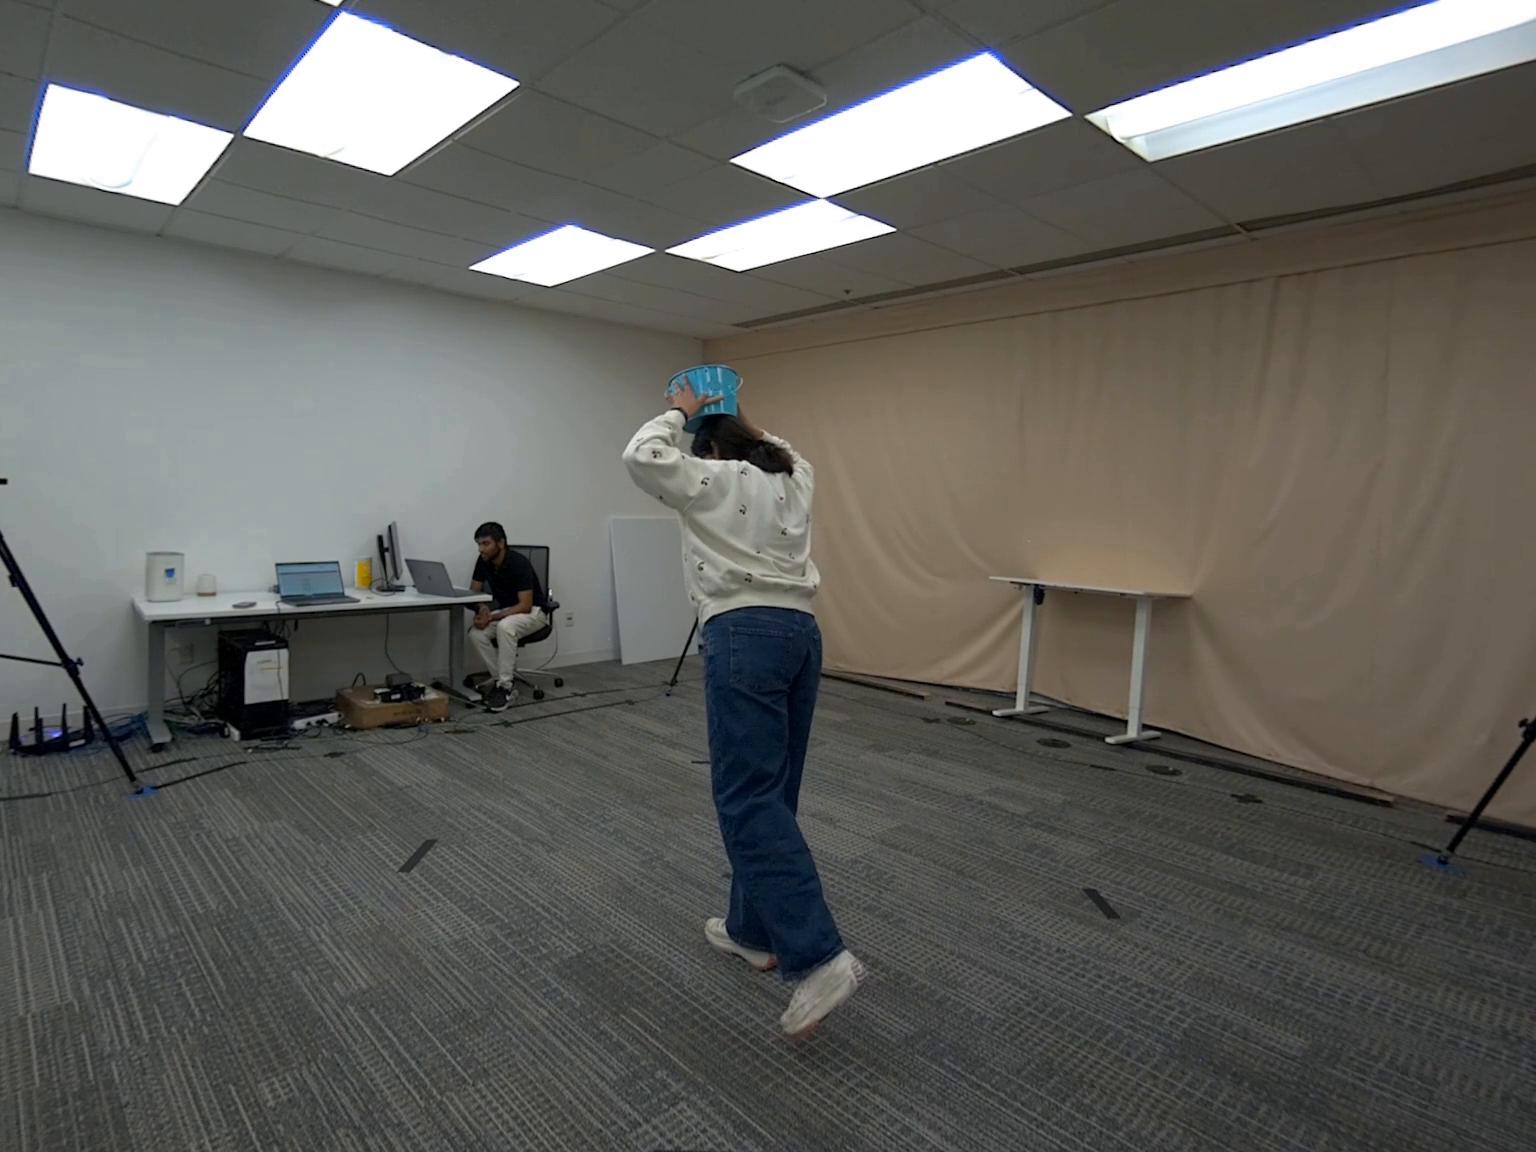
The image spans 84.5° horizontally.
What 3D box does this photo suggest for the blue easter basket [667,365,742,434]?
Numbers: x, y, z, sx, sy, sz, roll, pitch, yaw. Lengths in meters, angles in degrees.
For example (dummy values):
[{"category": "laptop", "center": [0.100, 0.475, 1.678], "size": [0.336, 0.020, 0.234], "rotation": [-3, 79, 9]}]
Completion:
[{"category": "blue easter basket", "center": [-0.199, -0.567, 2.728], "size": [0.243, 0.158, 0.241], "rotation": [-8, -12, -3]}]
